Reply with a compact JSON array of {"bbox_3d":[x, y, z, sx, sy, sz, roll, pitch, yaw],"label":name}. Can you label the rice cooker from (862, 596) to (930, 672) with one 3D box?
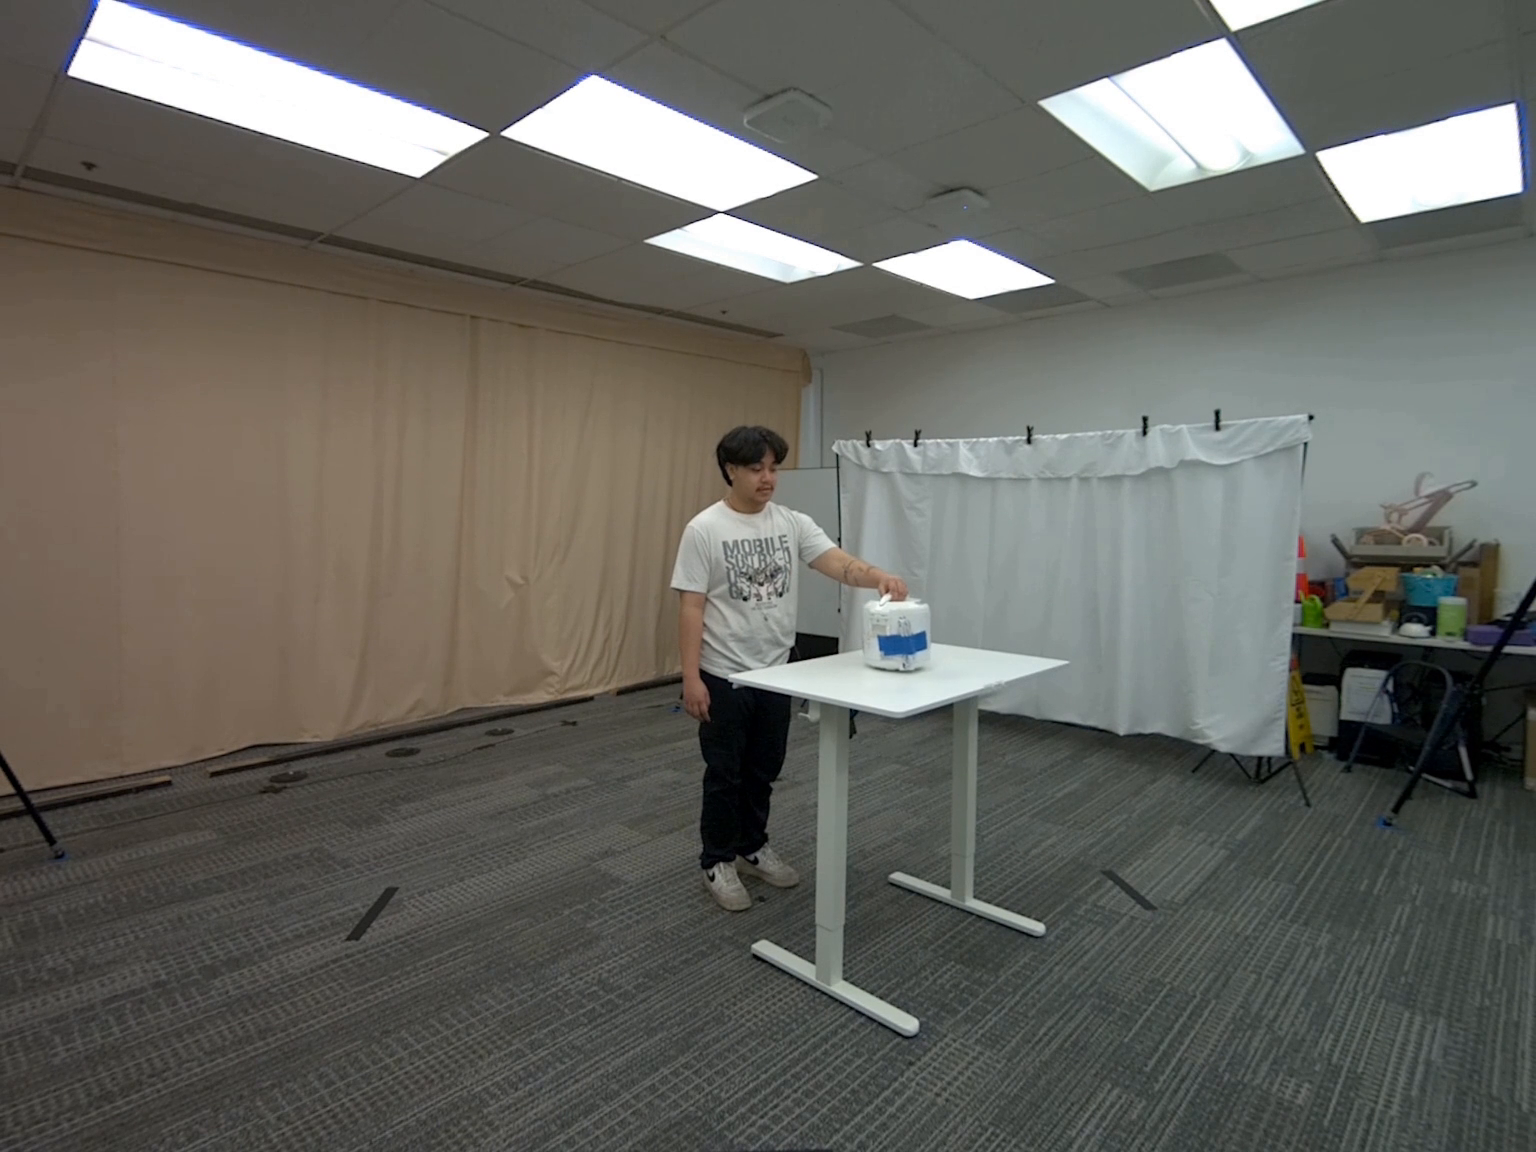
[{"bbox_3d":[0.401,0.166,2.635,0.224,0.232,0.214,2,2,39],"label":"rice cooker"}]
